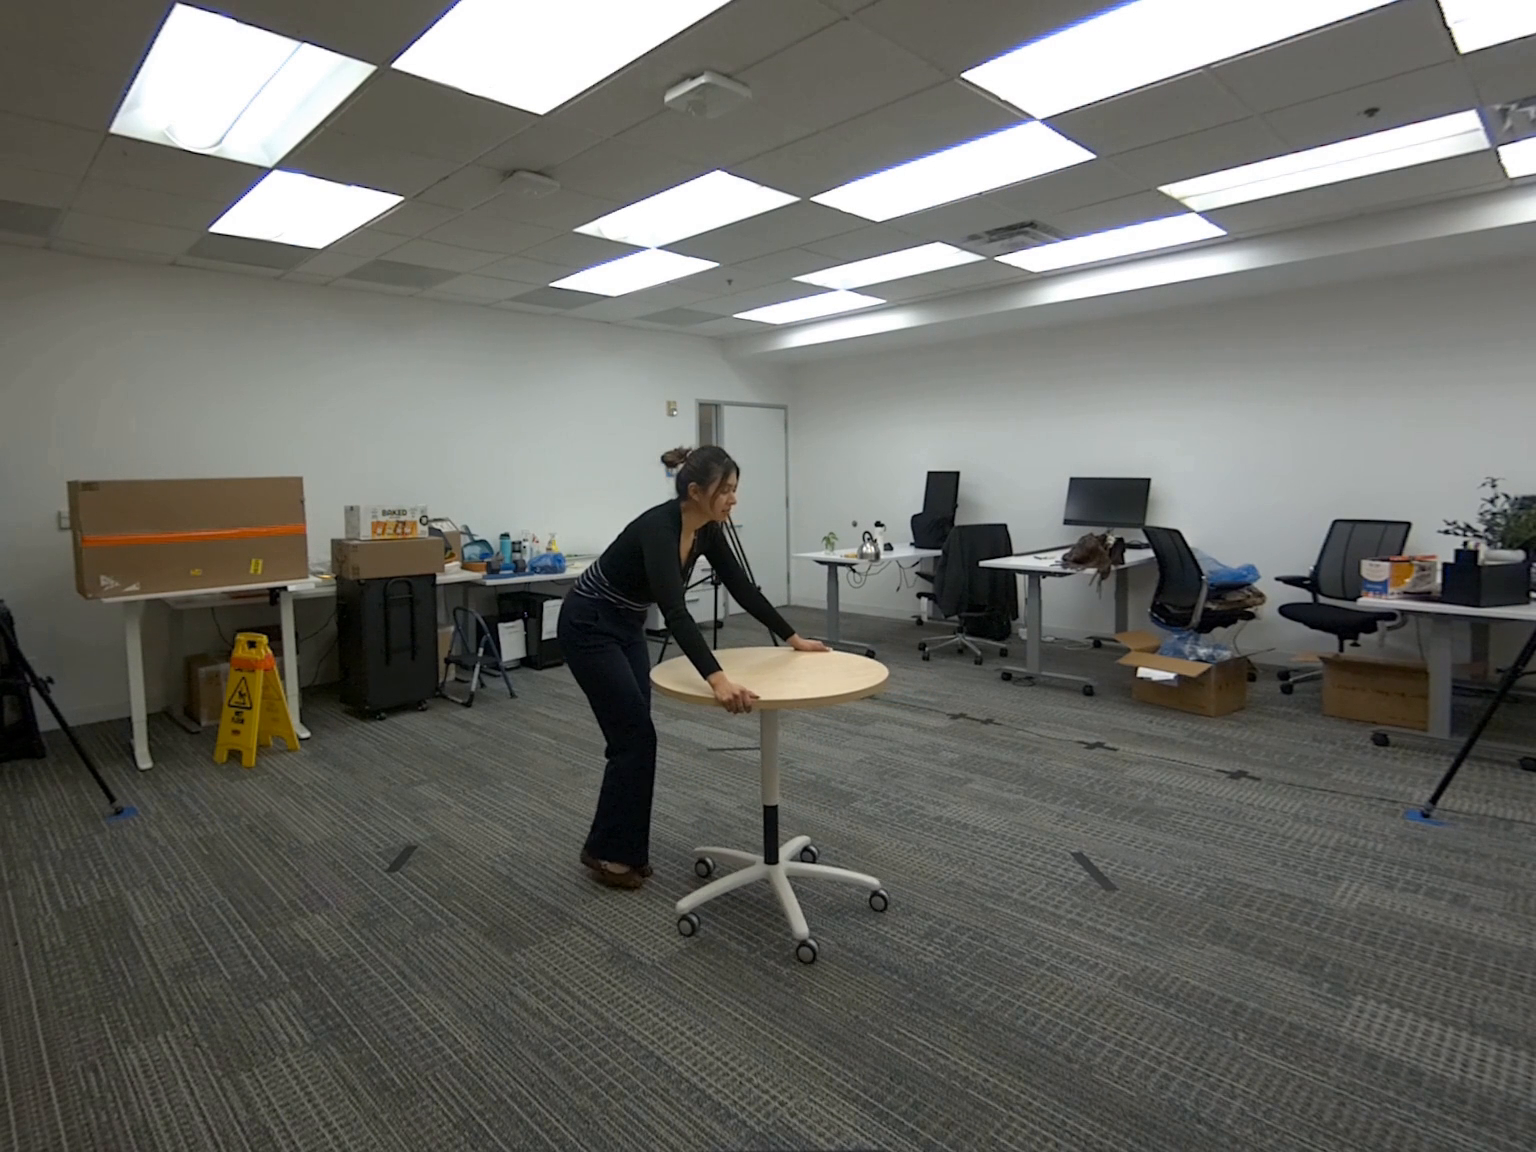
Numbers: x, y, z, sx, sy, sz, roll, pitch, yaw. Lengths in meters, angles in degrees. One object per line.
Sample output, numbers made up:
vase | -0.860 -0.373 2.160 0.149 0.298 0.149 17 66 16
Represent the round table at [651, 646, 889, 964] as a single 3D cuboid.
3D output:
round table | 0.025 0.695 2.780 0.763 0.791 0.768 -1 5 -2
